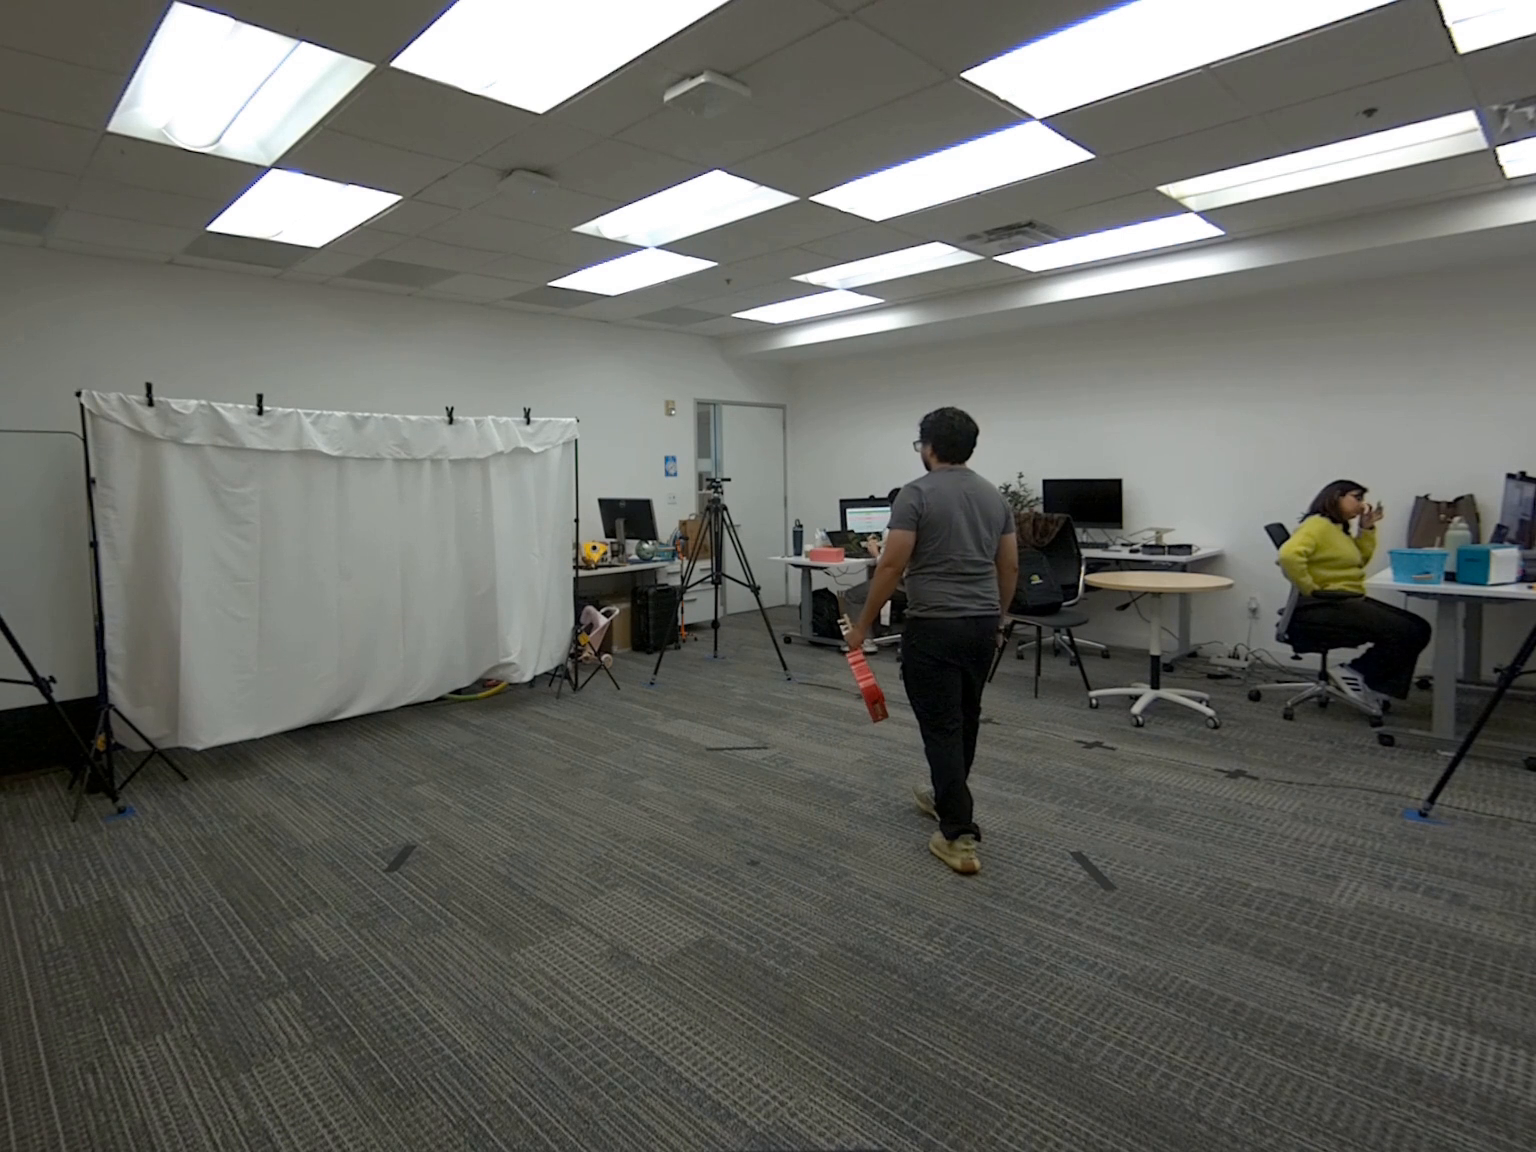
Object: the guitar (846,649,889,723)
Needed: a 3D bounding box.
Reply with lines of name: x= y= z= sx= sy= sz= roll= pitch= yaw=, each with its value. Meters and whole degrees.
guitar: x=0.347 y=0.337 z=3.155 sx=0.071 sy=0.187 sz=0.511 roll=-19 pitch=28 yaw=1
